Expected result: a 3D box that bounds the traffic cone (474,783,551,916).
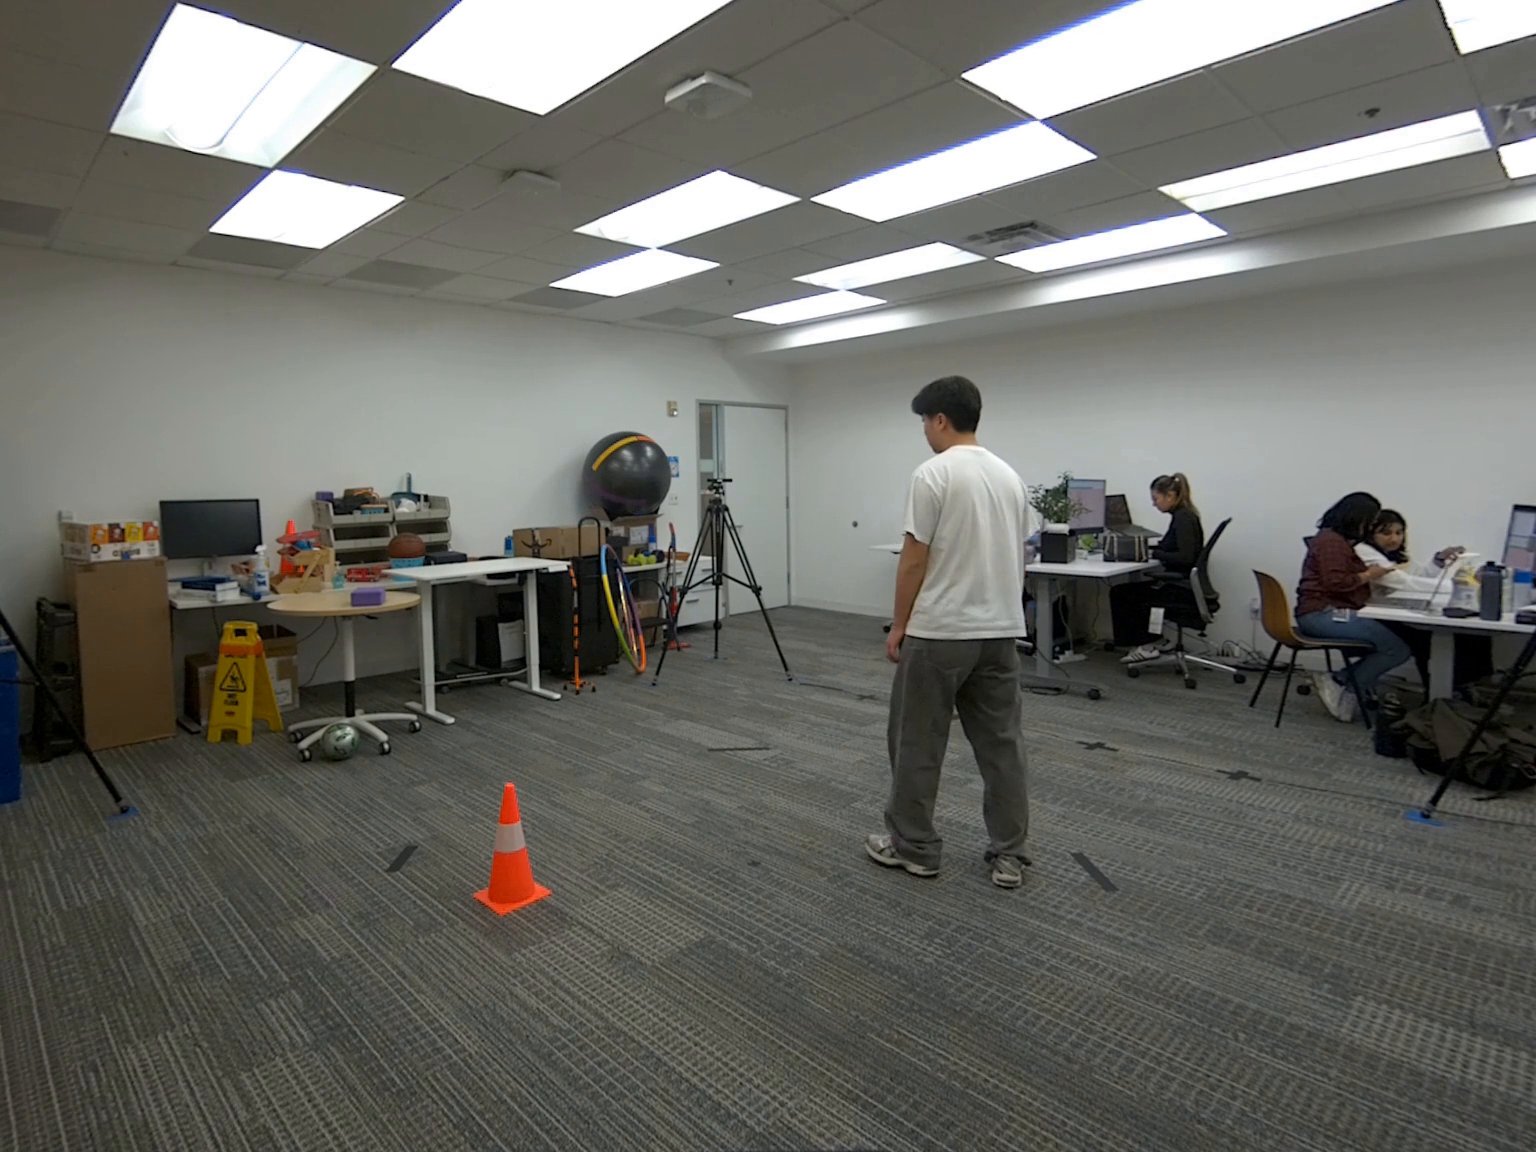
[{"bbox_3d":[-0.881,0.904,2.902,0.200,0.382,0.209,-7,4,-43],"label":"traffic cone"}]
